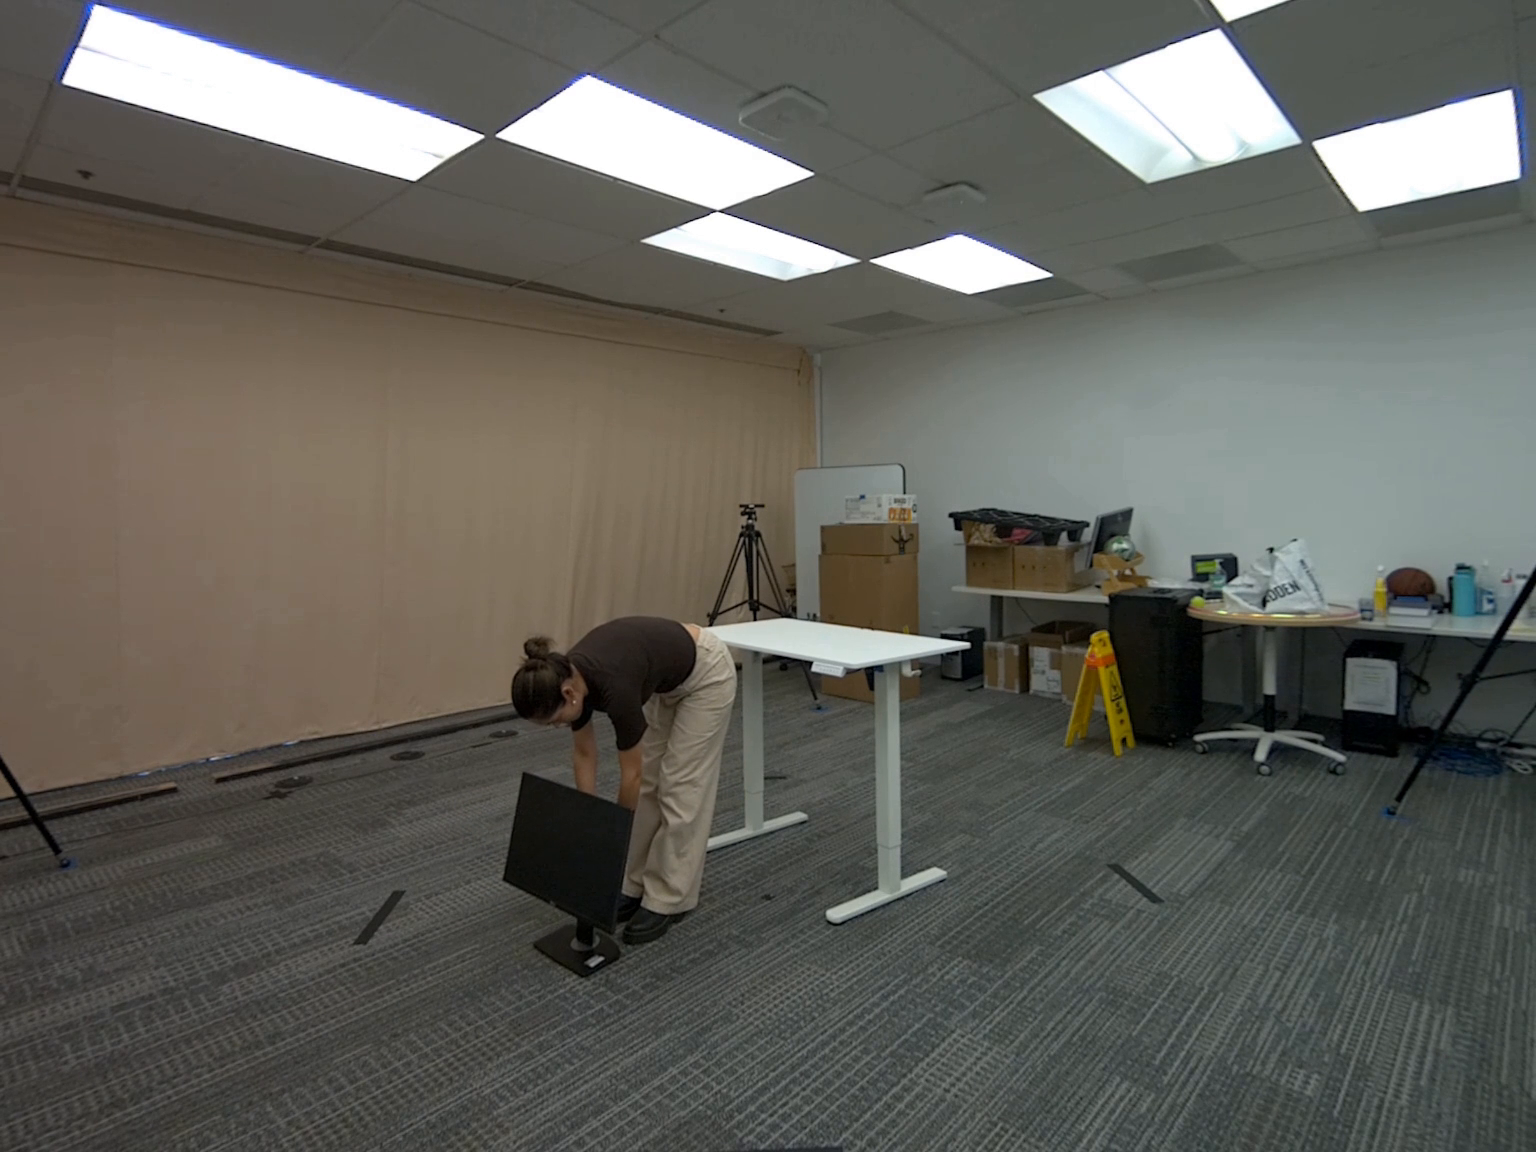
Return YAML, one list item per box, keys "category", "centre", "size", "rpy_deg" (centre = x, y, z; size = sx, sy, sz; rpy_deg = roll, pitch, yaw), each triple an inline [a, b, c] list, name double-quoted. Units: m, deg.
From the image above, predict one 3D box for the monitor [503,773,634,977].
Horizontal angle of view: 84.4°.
- category: "monitor"
  centre: [-0.600, 0.924, 2.630]
  size: [0.557, 0.521, 0.181]
  rpy_deg: [3, 5, 39]
